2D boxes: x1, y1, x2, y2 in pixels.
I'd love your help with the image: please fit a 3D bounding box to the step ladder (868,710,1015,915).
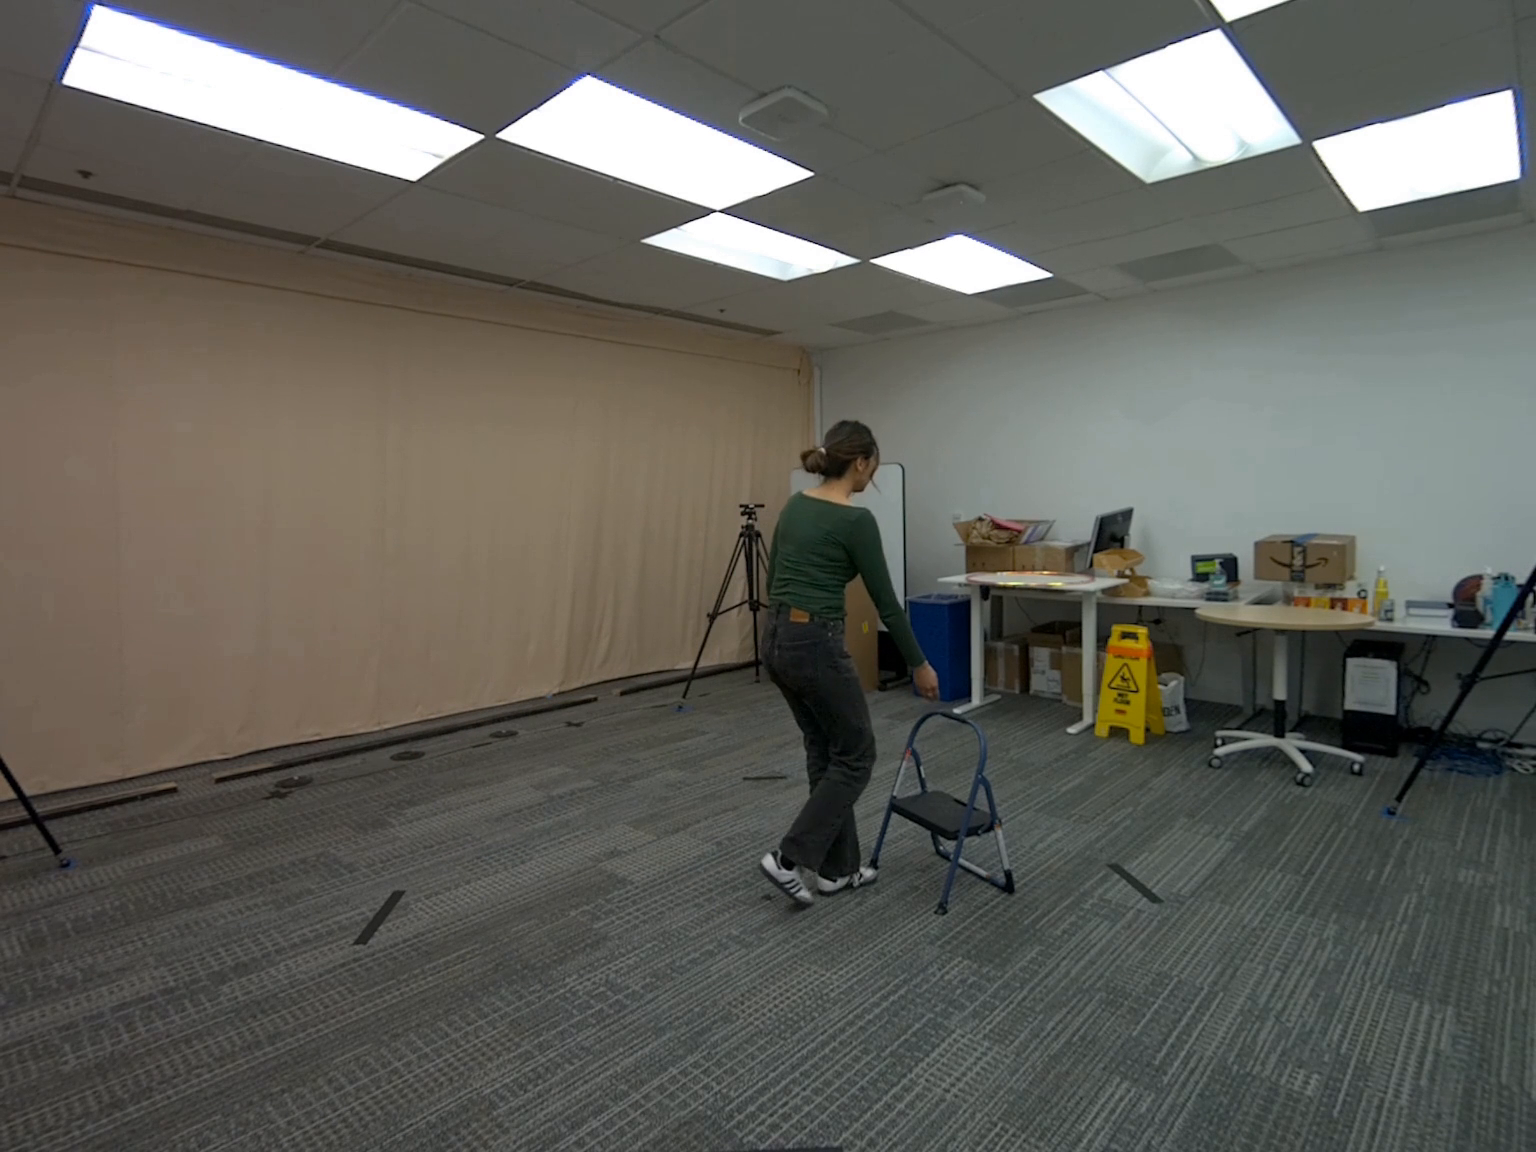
[{"bbox_3d":[0.629,0.817,3.079,0.340,0.605,0.442,-3,4,-28],"label":"step ladder"}]
